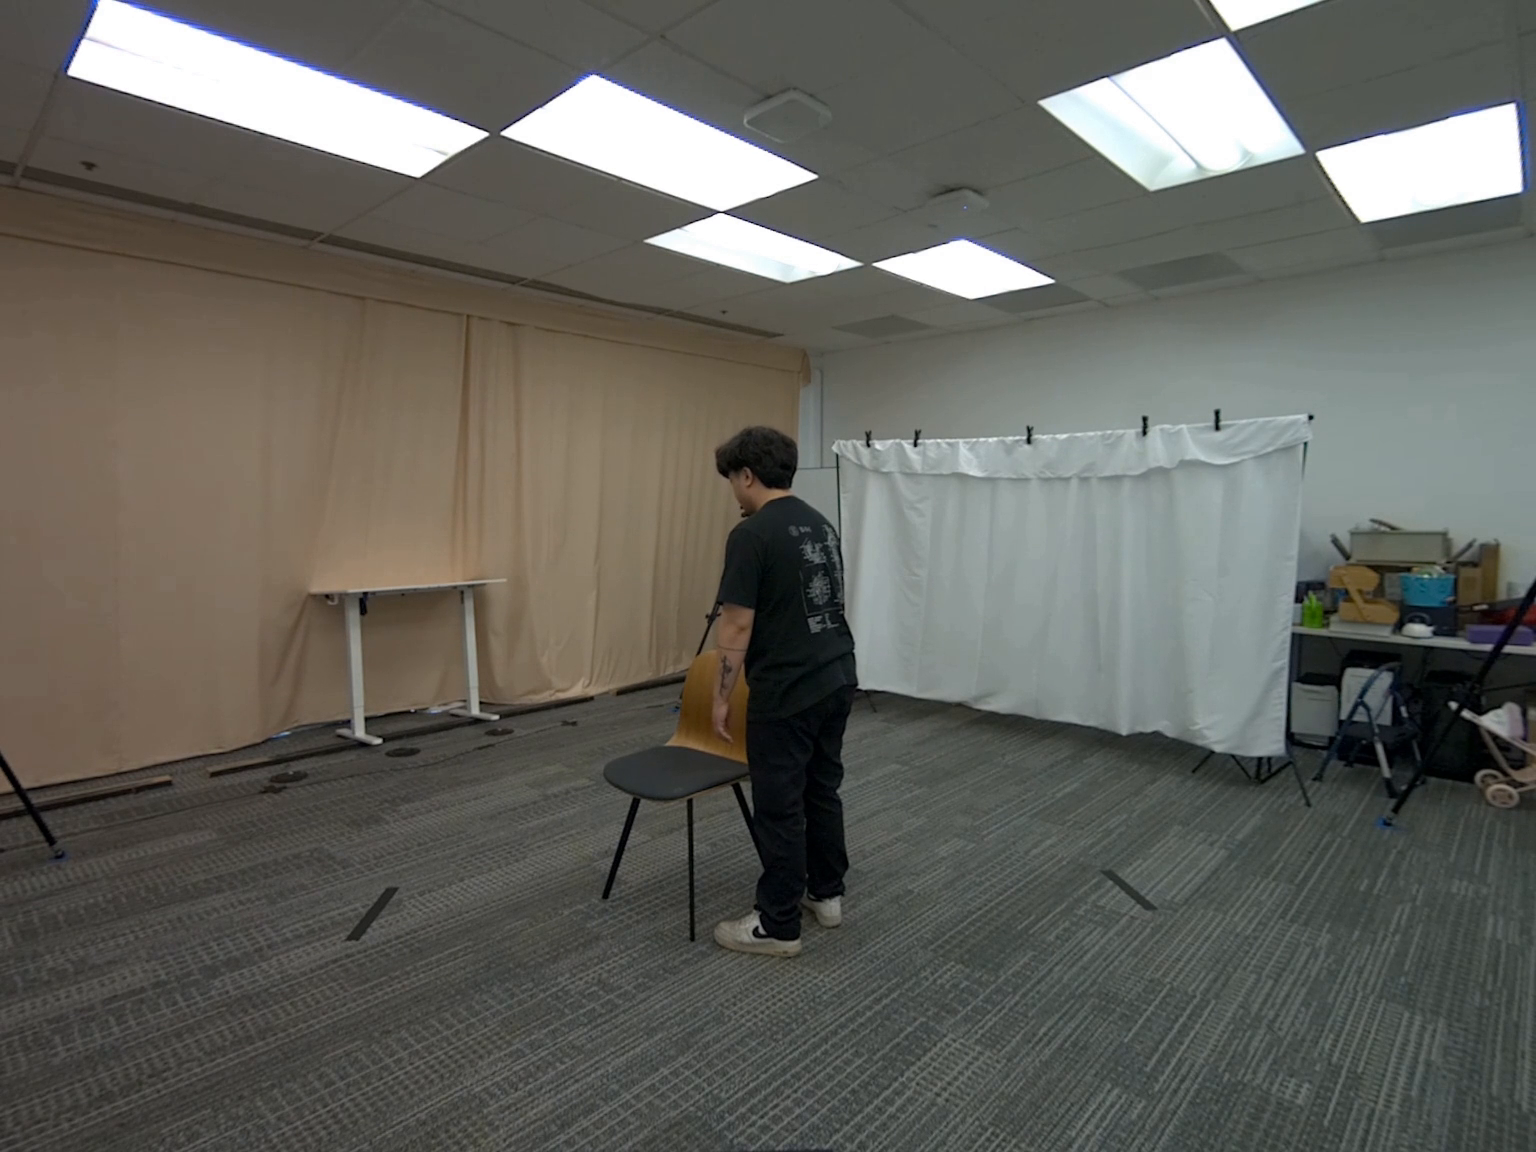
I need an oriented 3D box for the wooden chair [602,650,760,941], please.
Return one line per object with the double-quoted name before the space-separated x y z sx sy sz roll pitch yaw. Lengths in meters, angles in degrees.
"wooden chair" -0.278 0.719 2.975 0.494 0.877 0.506 3 0 41
